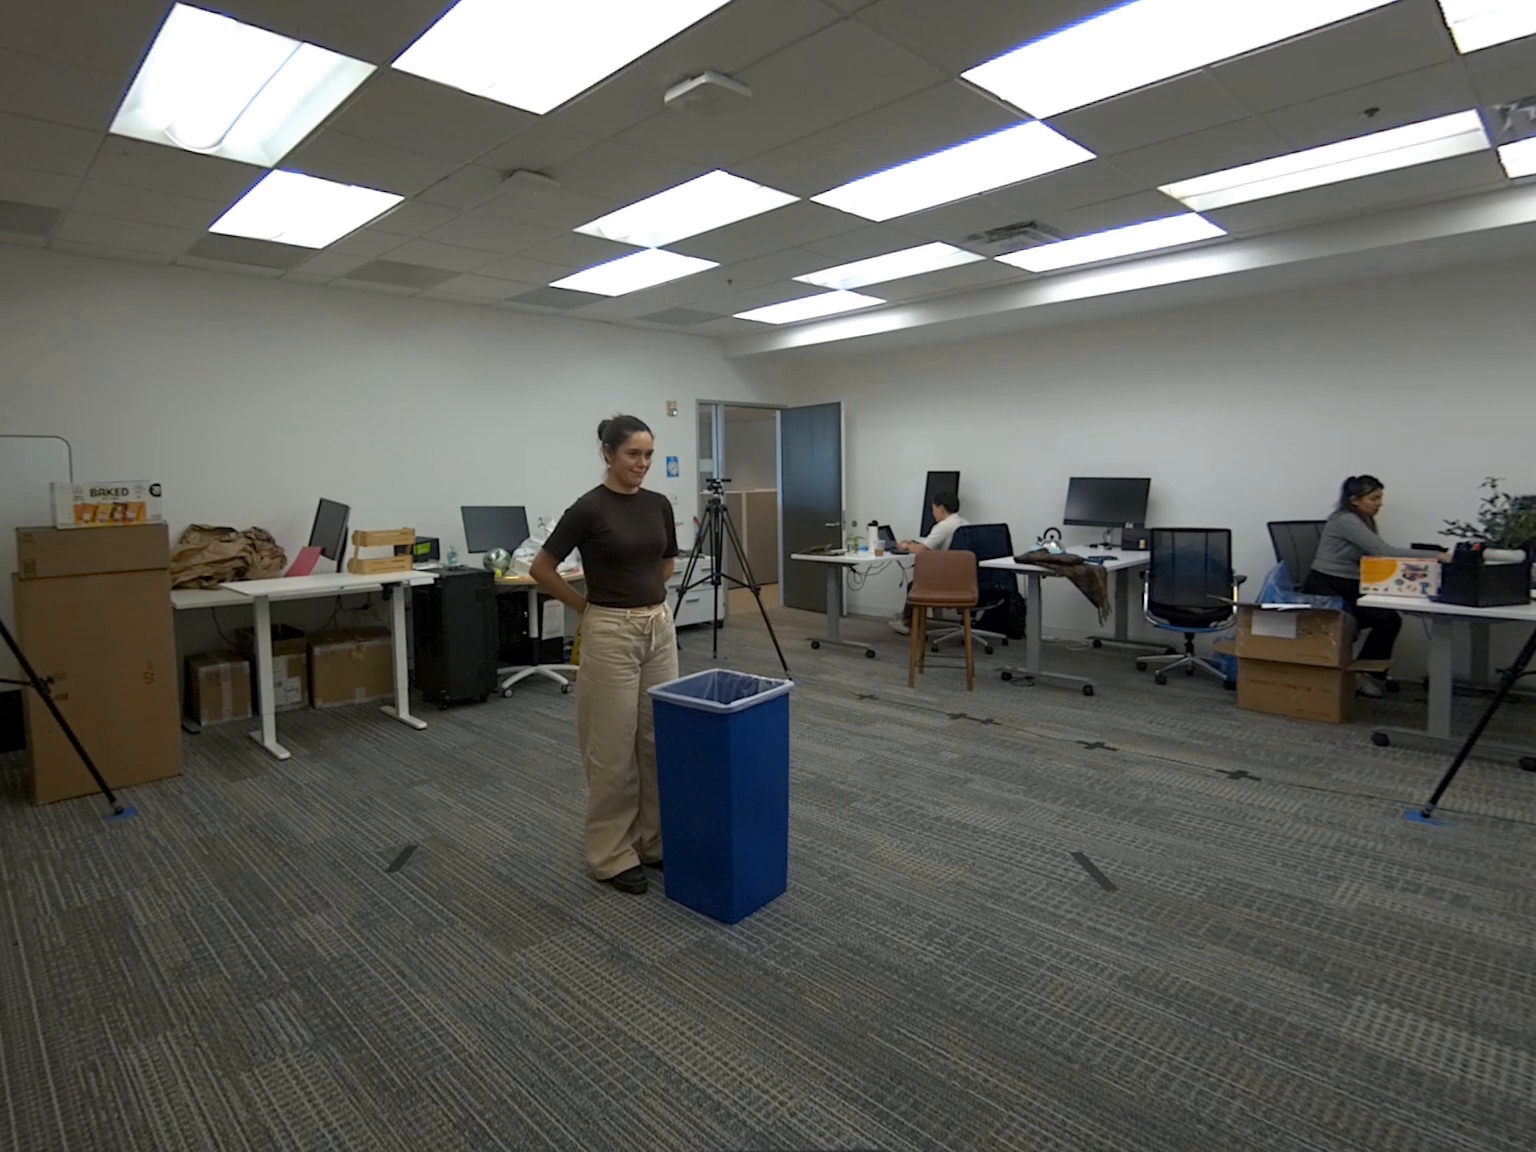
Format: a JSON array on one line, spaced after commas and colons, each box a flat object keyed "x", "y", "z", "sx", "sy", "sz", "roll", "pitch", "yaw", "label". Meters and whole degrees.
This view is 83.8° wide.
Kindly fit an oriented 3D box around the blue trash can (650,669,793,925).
[{"x": -0.153, "y": 0.717, "z": 2.852, "sx": 0.385, "sy": 0.710, "sz": 0.368, "roll": 3, "pitch": 6, "yaw": 39, "label": "blue trash can"}]
